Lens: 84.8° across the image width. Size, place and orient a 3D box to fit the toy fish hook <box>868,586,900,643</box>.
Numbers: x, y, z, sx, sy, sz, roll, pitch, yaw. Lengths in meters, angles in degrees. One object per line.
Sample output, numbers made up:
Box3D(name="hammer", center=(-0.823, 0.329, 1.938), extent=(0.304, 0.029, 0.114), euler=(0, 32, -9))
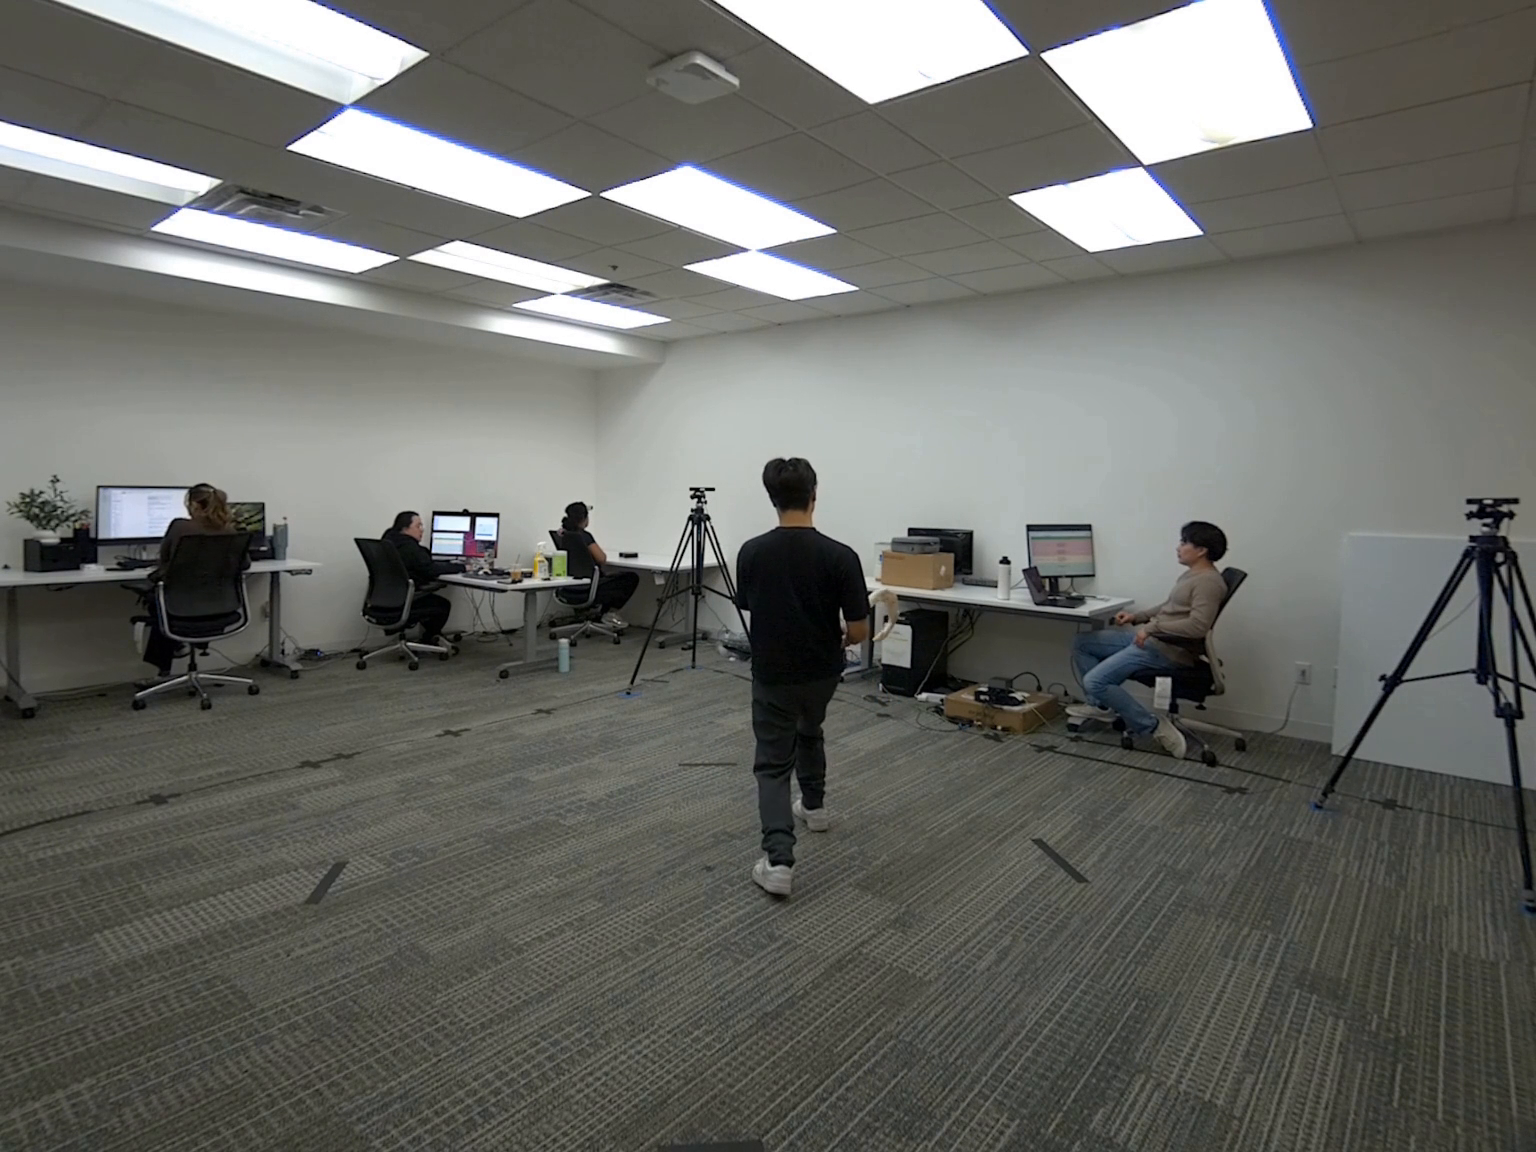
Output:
Box3D(name="toy fish hook", center=(0.376, 0.224, 3.588), extent=(0.499, 0.221, 0.050), euler=(-29, 18, -34))
